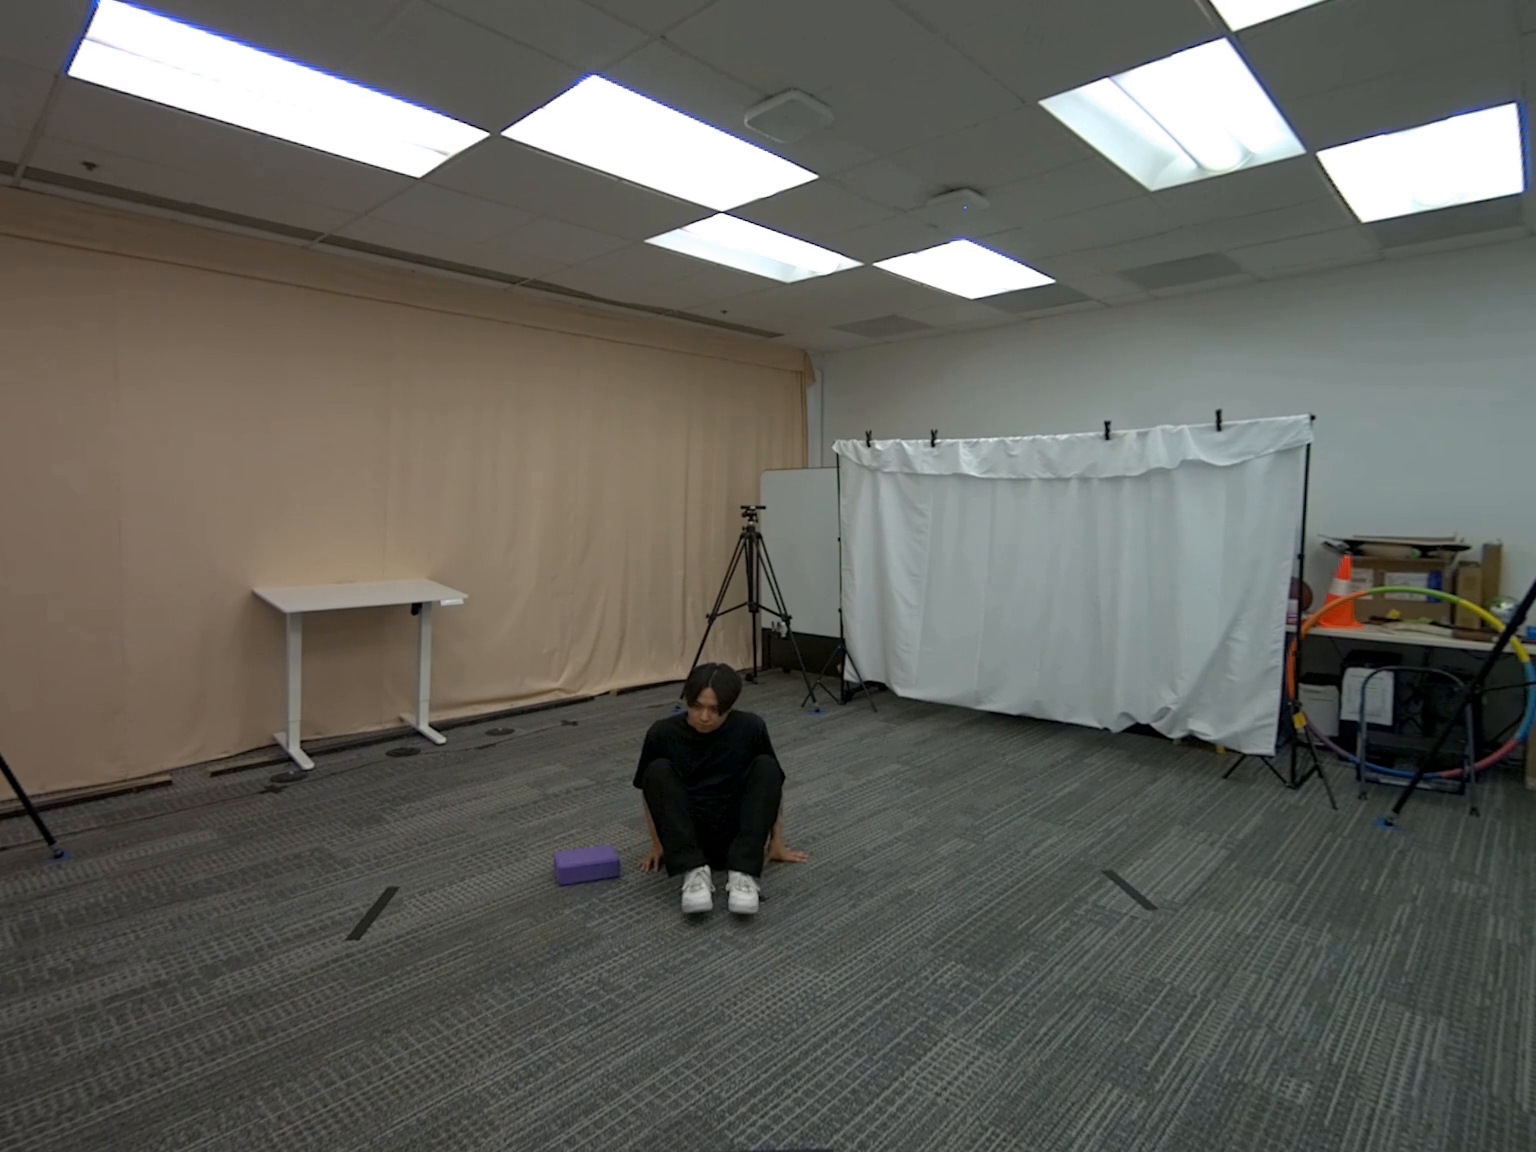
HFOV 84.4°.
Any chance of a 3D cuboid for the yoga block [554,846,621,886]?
[{"bbox_3d":[-0.687,1.097,3.193,0.225,0.076,0.152,-2,4,-19],"label":"yoga block"}]
